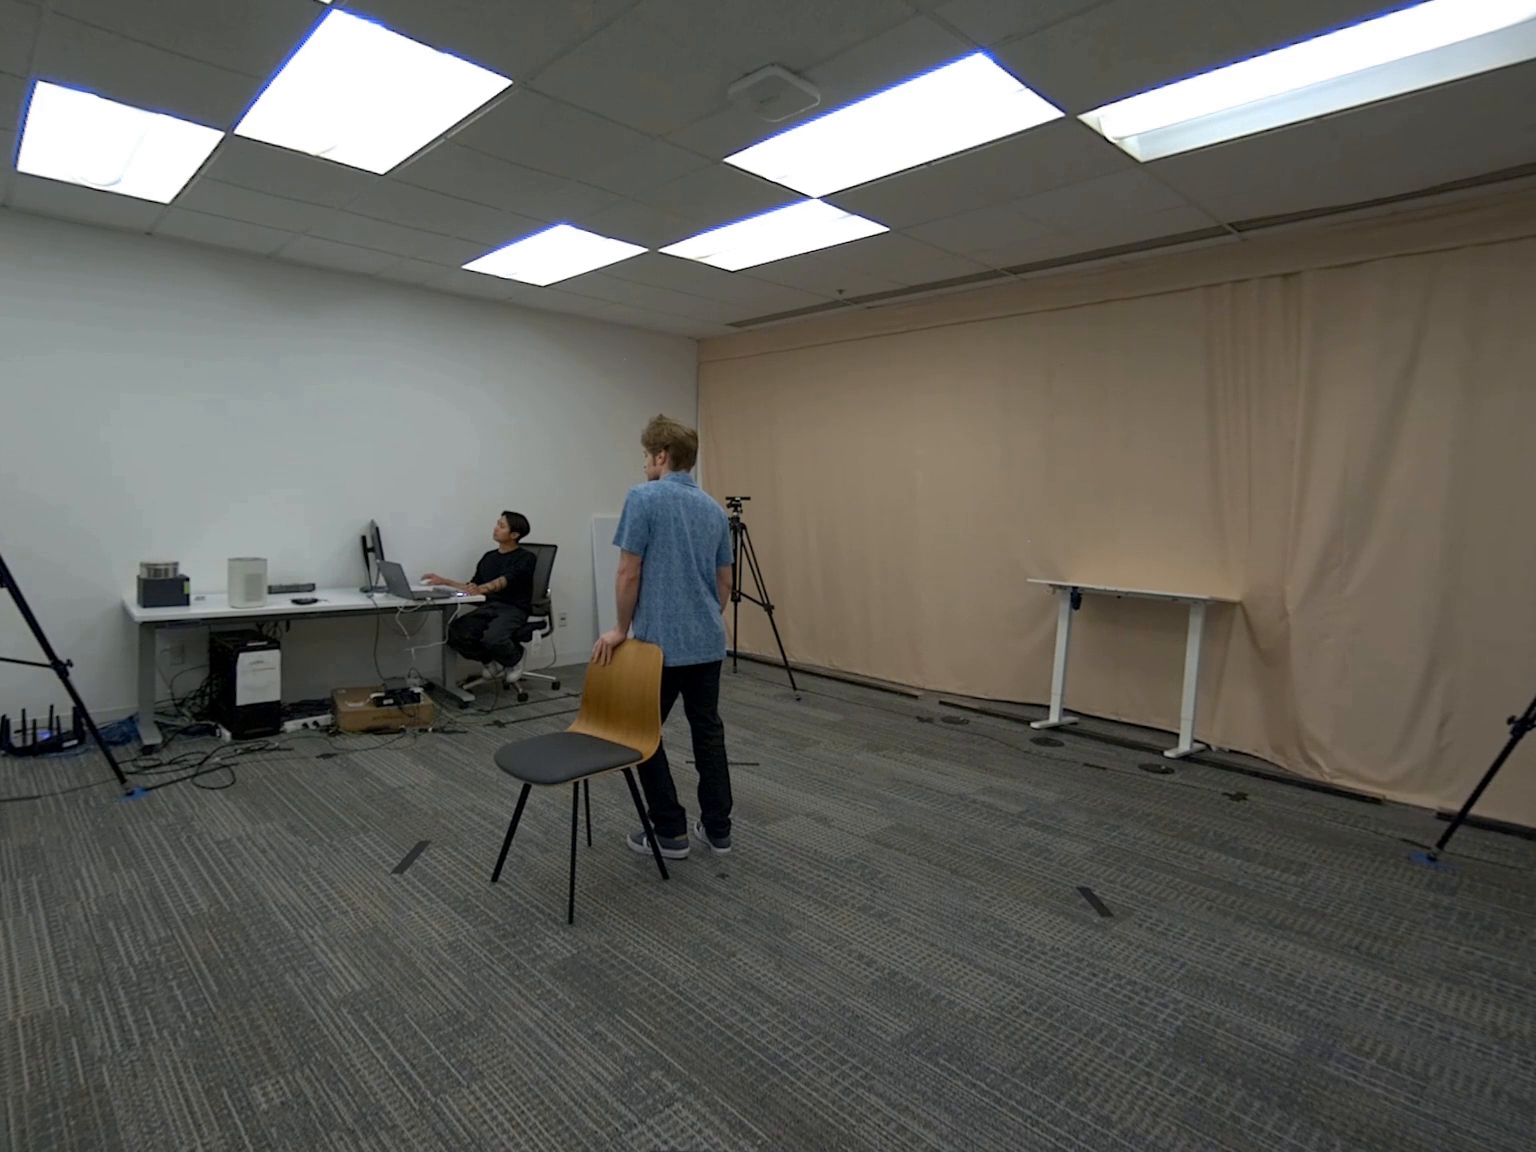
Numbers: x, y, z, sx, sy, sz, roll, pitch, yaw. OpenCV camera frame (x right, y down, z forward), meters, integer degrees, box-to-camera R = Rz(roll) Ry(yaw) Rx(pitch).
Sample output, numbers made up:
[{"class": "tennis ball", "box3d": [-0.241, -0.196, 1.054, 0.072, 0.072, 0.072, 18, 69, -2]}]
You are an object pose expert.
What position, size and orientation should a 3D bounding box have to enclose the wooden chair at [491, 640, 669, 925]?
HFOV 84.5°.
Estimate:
[{"class": "wooden chair", "box3d": [-0.673, 0.677, 2.999, 0.490, 0.877, 0.510, 4, 0, 39]}]
